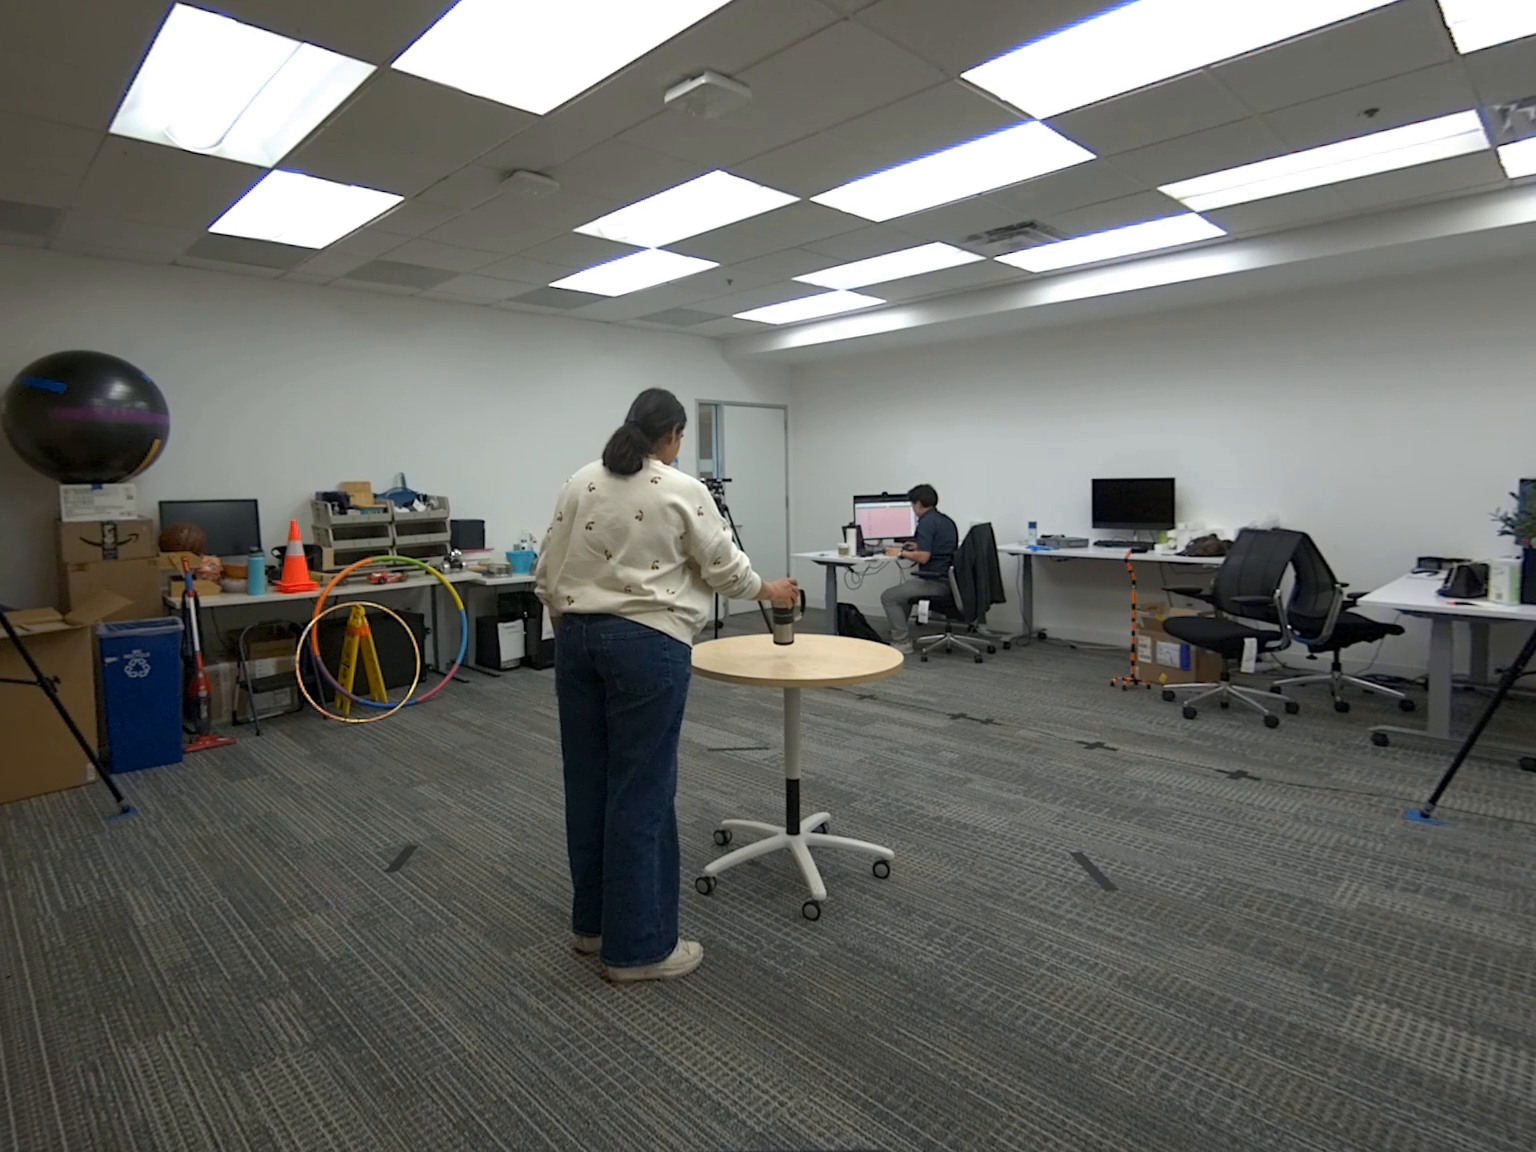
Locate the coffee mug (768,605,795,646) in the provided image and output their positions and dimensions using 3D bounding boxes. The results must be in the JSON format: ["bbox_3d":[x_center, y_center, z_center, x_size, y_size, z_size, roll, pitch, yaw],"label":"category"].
[{"bbox_3d":[0.075,0.137,2.892,0.125,0.202,0.086,0,7,39],"label":"coffee mug"}]
